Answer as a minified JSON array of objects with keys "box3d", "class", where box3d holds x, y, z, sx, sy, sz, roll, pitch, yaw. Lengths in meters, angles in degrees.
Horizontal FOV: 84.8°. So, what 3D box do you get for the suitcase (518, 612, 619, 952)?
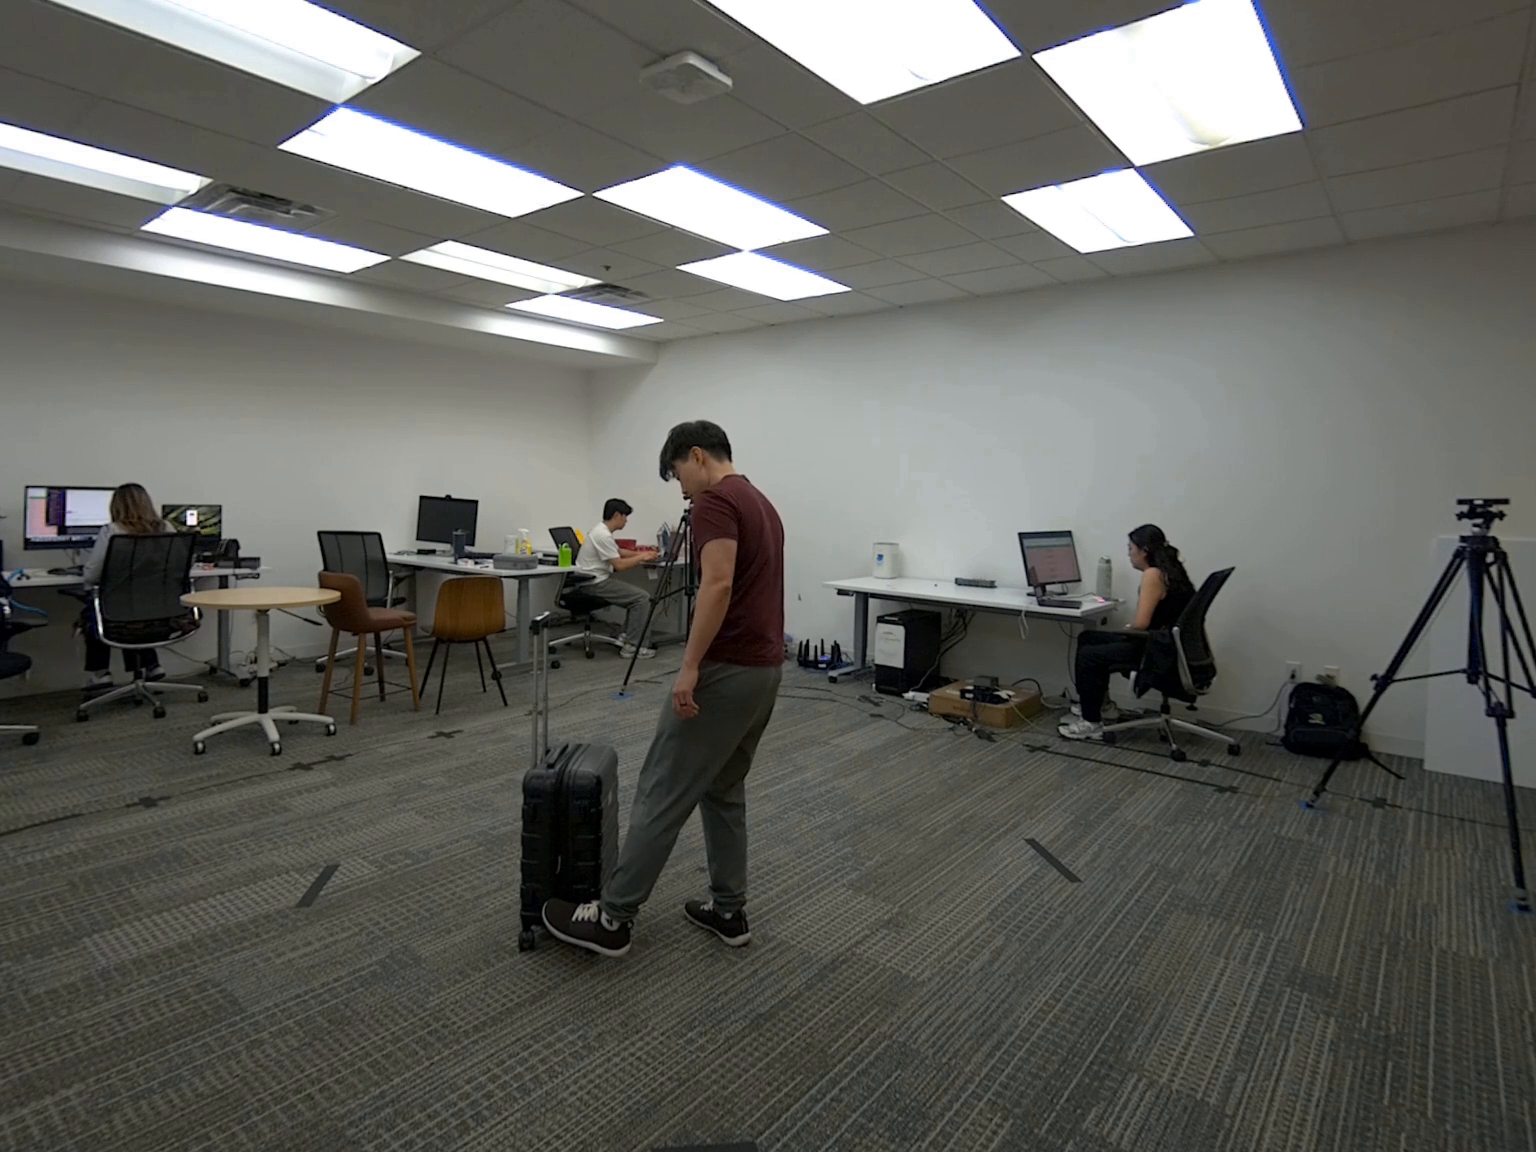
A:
[{"box3d":[-0.628,0.624,2.697,0.257,0.976,0.384,1,2,0],"class":"suitcase"}]
